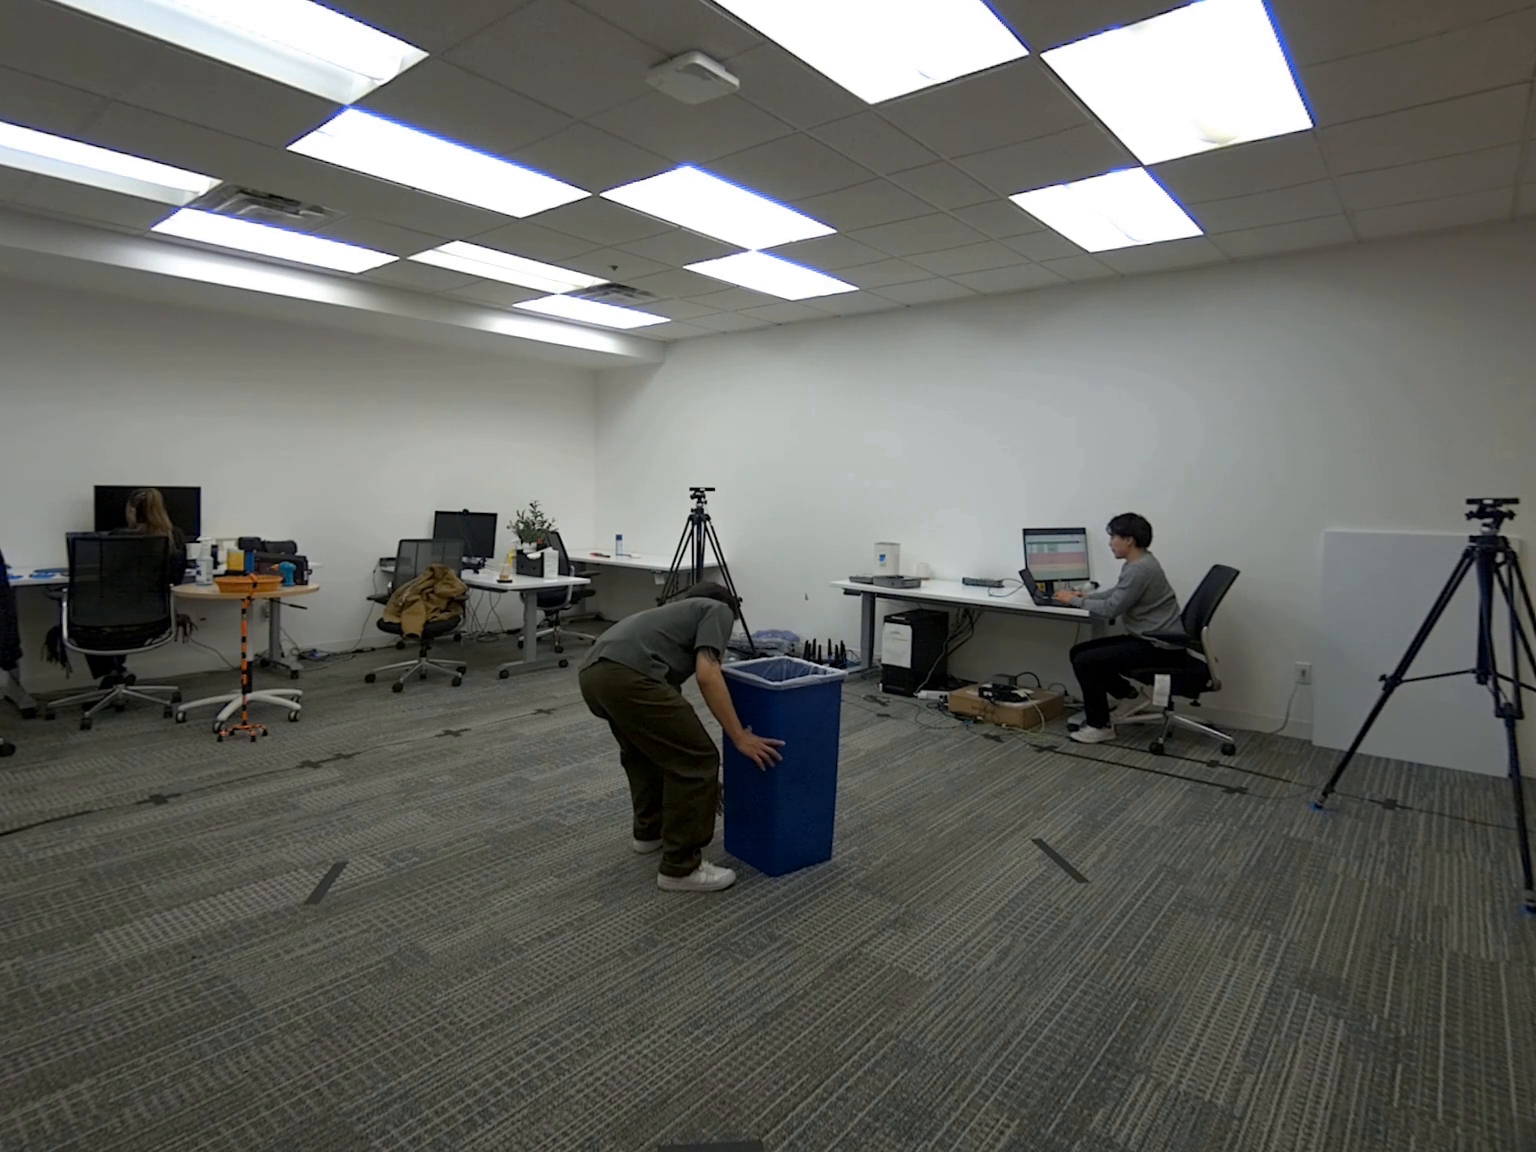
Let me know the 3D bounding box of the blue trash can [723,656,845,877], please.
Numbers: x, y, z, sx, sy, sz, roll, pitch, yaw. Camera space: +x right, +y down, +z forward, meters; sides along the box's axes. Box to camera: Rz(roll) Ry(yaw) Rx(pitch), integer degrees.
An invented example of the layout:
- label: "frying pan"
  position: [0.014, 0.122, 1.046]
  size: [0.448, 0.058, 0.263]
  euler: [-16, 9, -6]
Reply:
- label: "blue trash can"
  position: [0.045, 0.706, 3.223]
  size: [0.367, 0.711, 0.386]
  euler: [-3, 4, -41]
